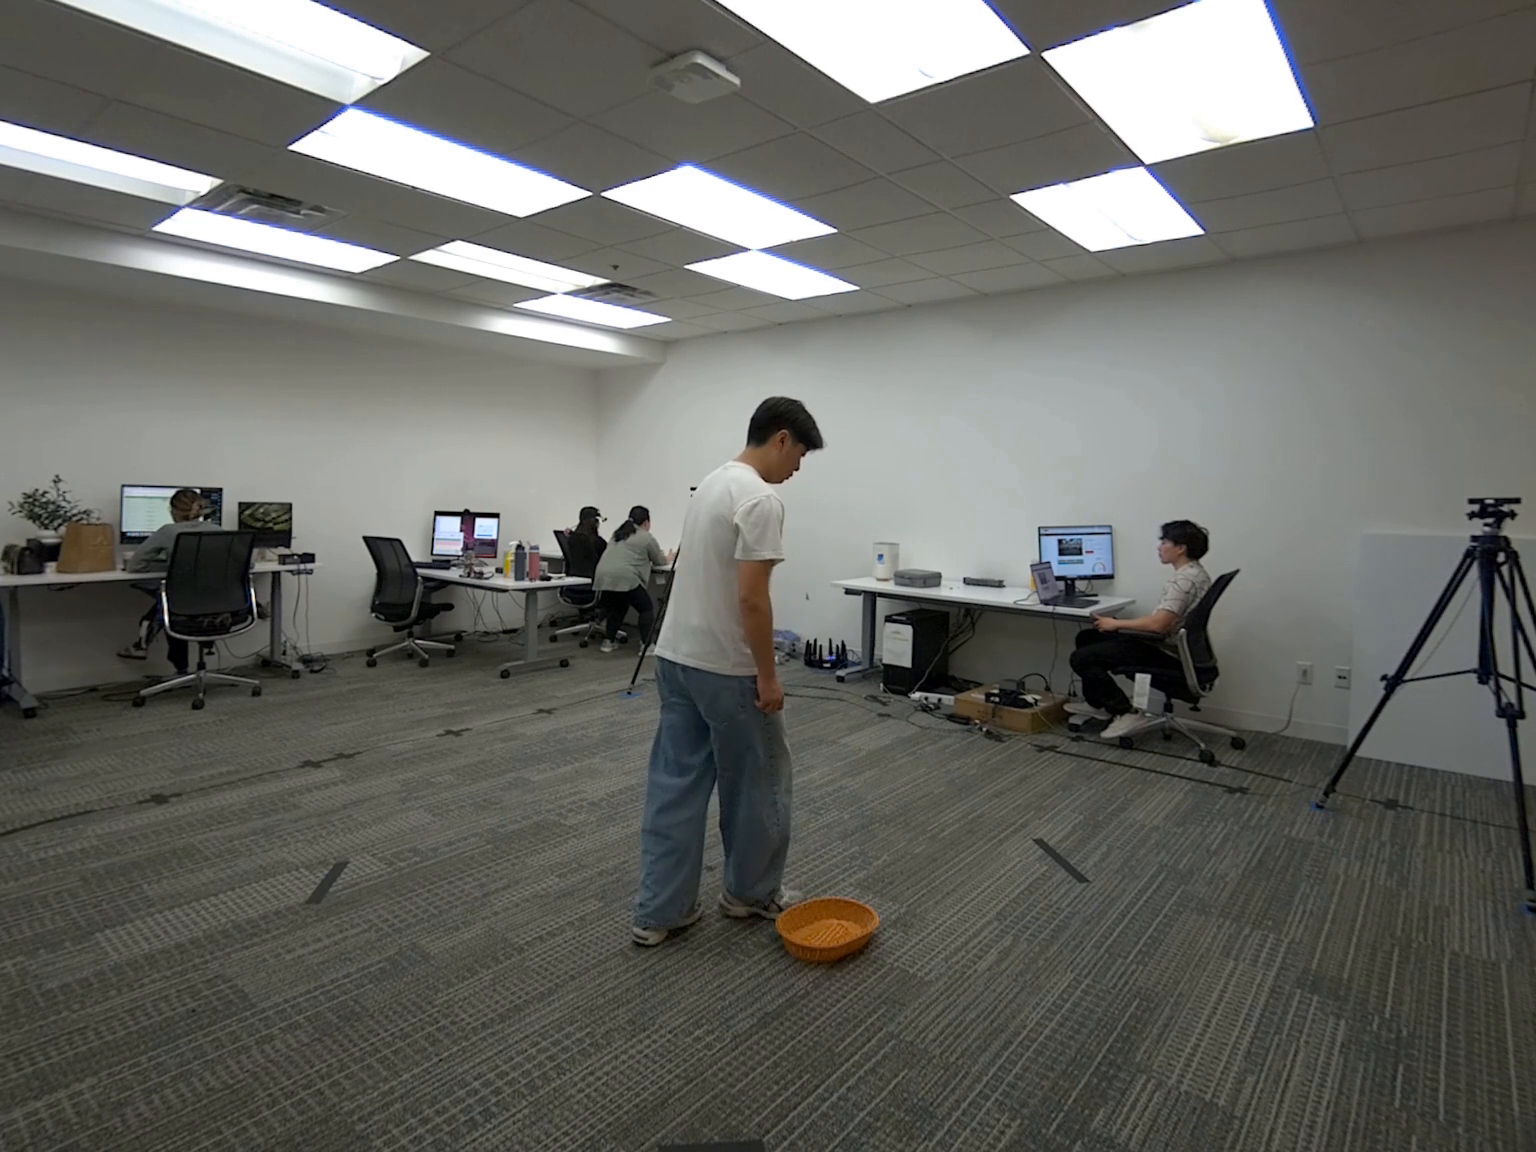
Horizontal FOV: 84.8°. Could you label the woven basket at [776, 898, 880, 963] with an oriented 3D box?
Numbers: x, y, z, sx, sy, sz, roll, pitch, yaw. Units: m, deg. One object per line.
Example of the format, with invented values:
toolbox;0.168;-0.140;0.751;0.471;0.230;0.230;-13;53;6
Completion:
woven basket;0.171;1.087;2.615;0.340;0.073;0.261;-2;6;-37
